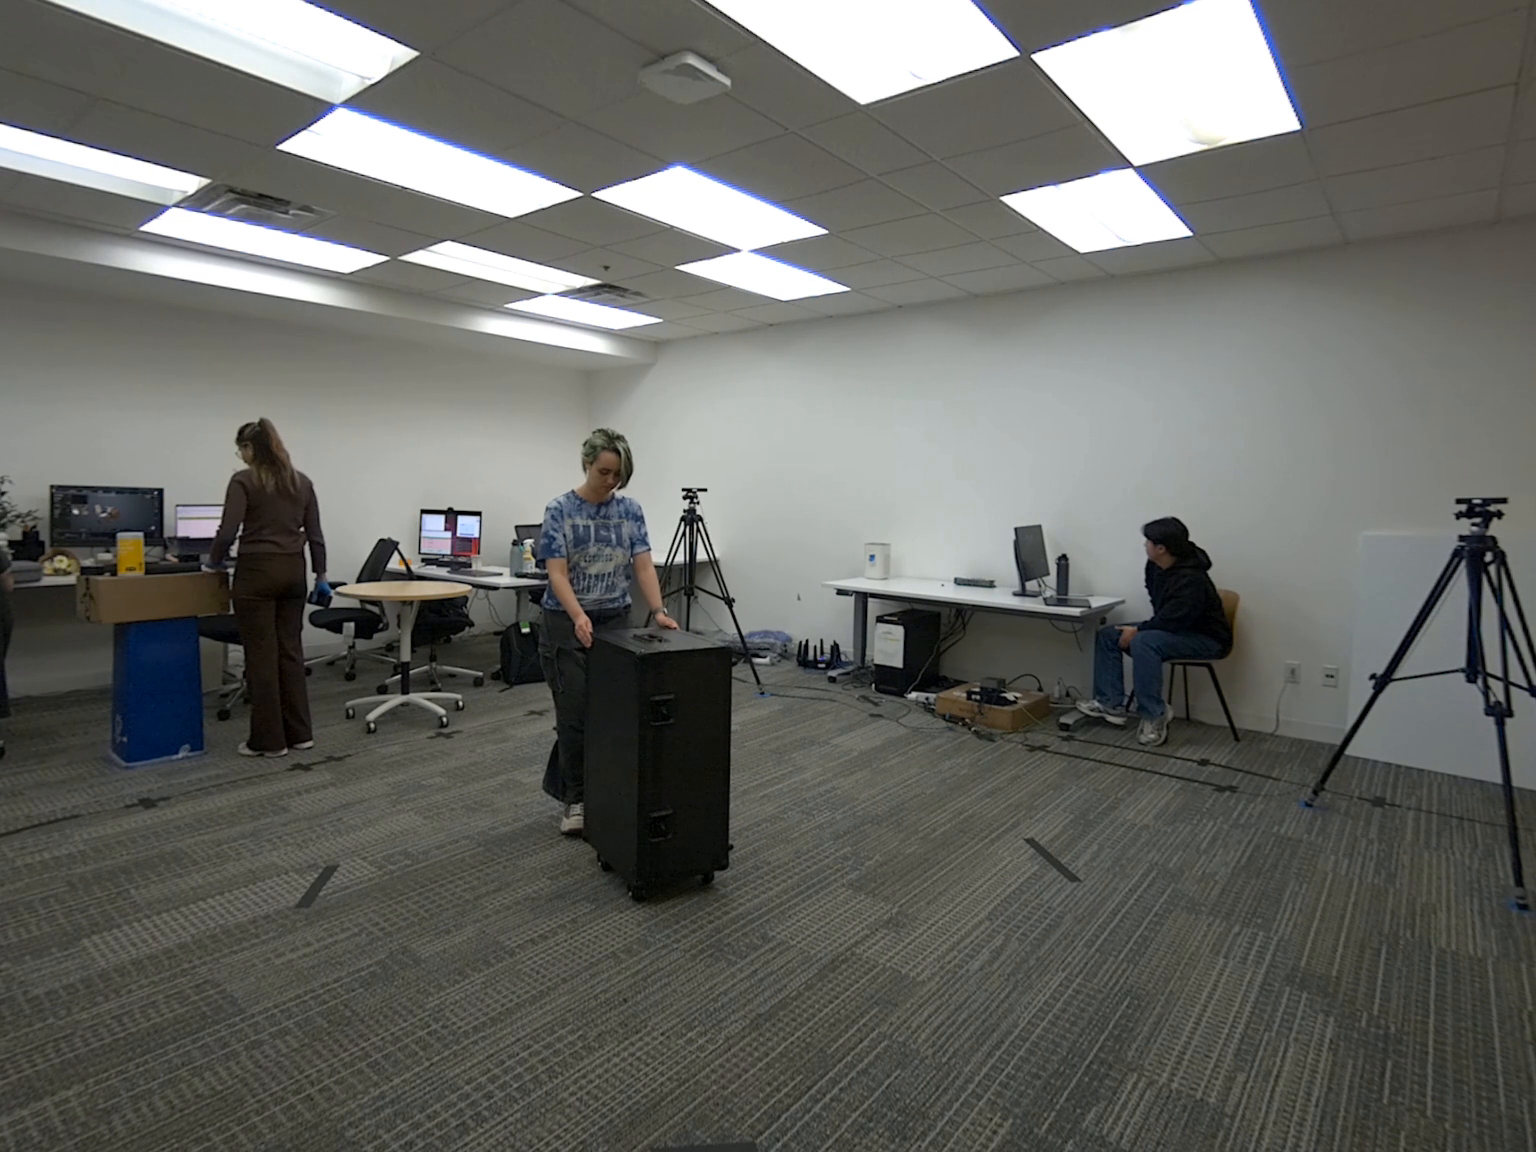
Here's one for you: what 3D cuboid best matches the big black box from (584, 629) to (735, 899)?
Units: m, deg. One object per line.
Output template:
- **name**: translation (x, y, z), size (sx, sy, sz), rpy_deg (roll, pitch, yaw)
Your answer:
- **big black box**: translation (-0.409, 0.646, 3.064), size (0.385, 0.860, 0.537), rpy_deg (0, 2, -32)
